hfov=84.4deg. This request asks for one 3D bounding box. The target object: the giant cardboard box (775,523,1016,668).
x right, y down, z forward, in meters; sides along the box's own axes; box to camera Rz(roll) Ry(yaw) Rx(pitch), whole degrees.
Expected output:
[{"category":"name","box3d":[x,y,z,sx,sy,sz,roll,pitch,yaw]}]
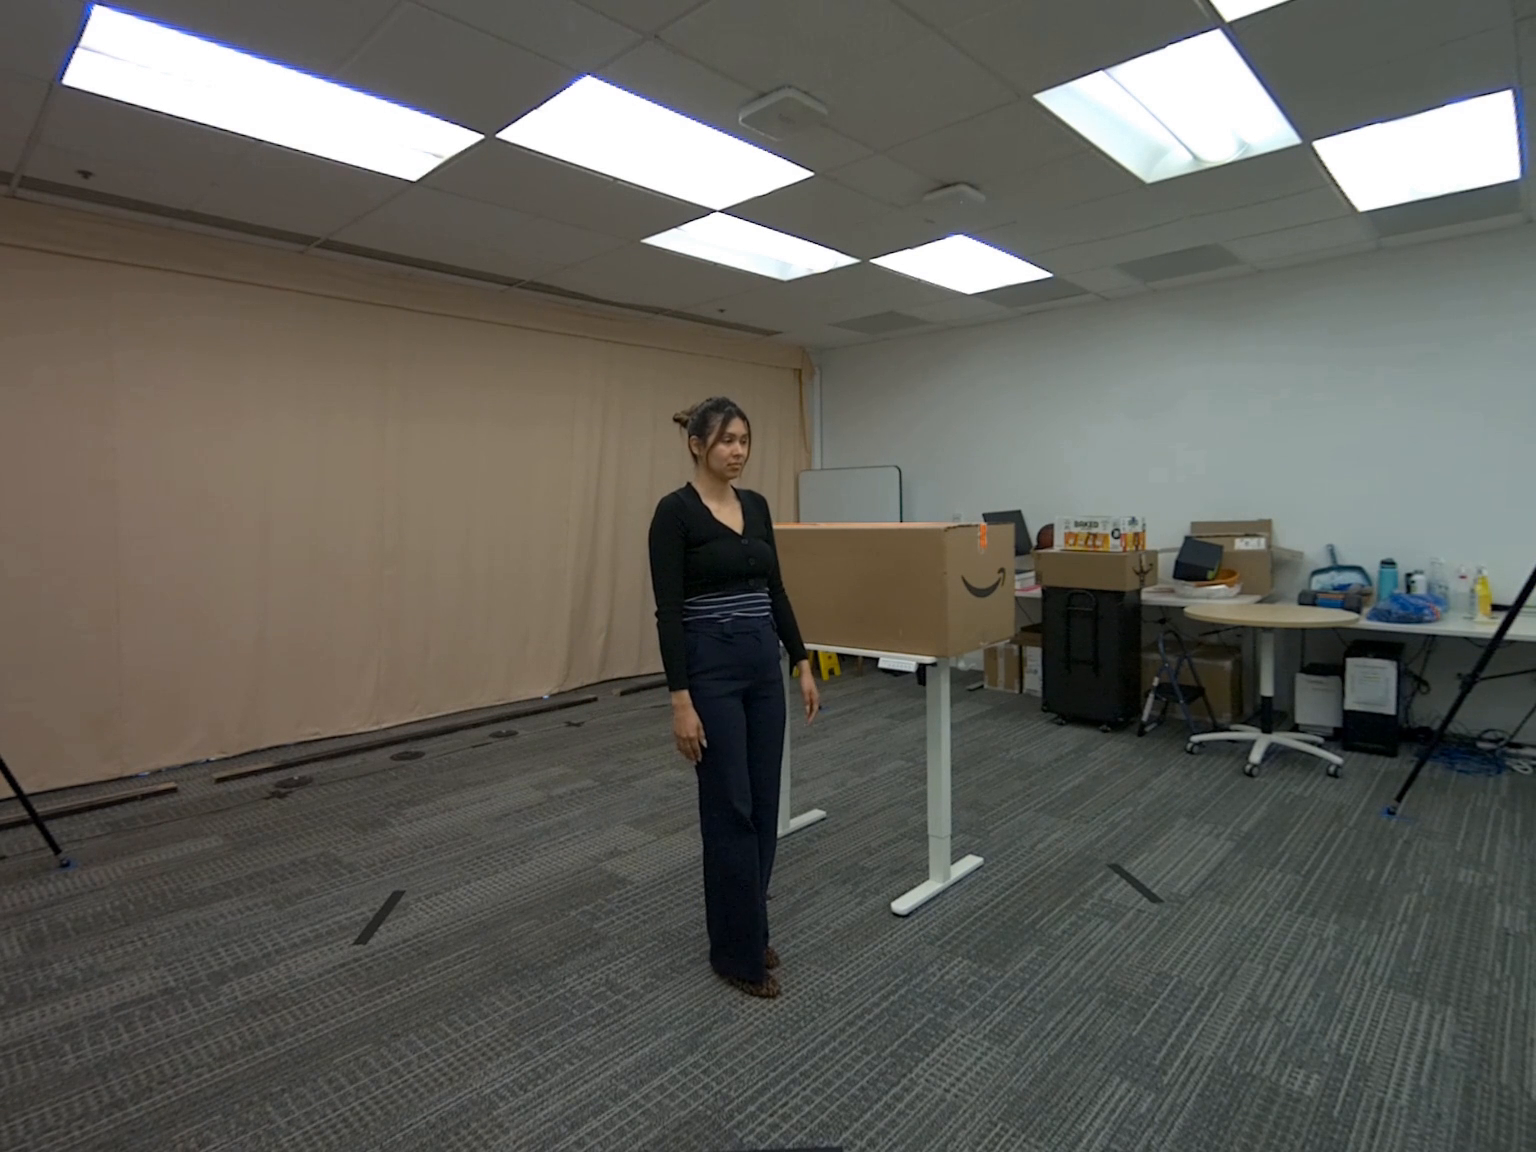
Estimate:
[{"category":"giant cardboard box","box3d":[0.326,0.018,3.223,1.059,0.425,0.560,2,4,39]}]
